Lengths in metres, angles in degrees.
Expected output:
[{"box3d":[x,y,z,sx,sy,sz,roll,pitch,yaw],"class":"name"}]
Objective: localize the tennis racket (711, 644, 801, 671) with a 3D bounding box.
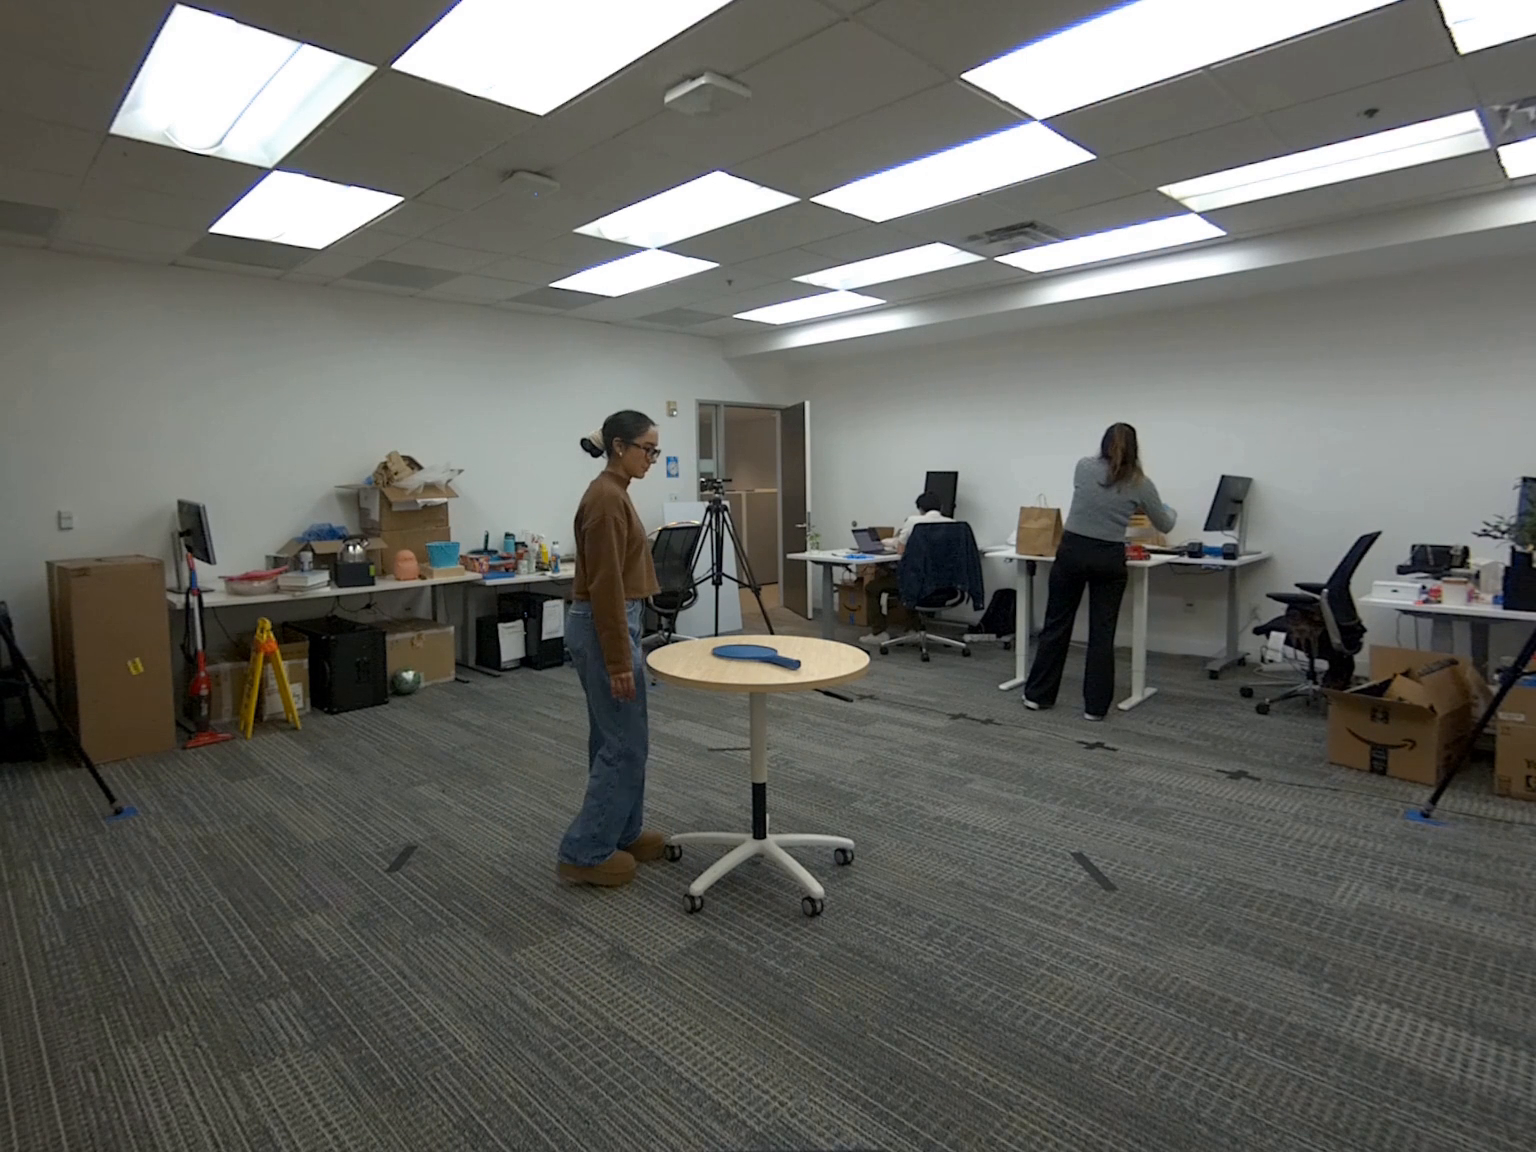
[{"box3d":[-0.032,0.274,2.921,0.208,0.031,0.445,-5,6,-34],"class":"tennis racket"}]
